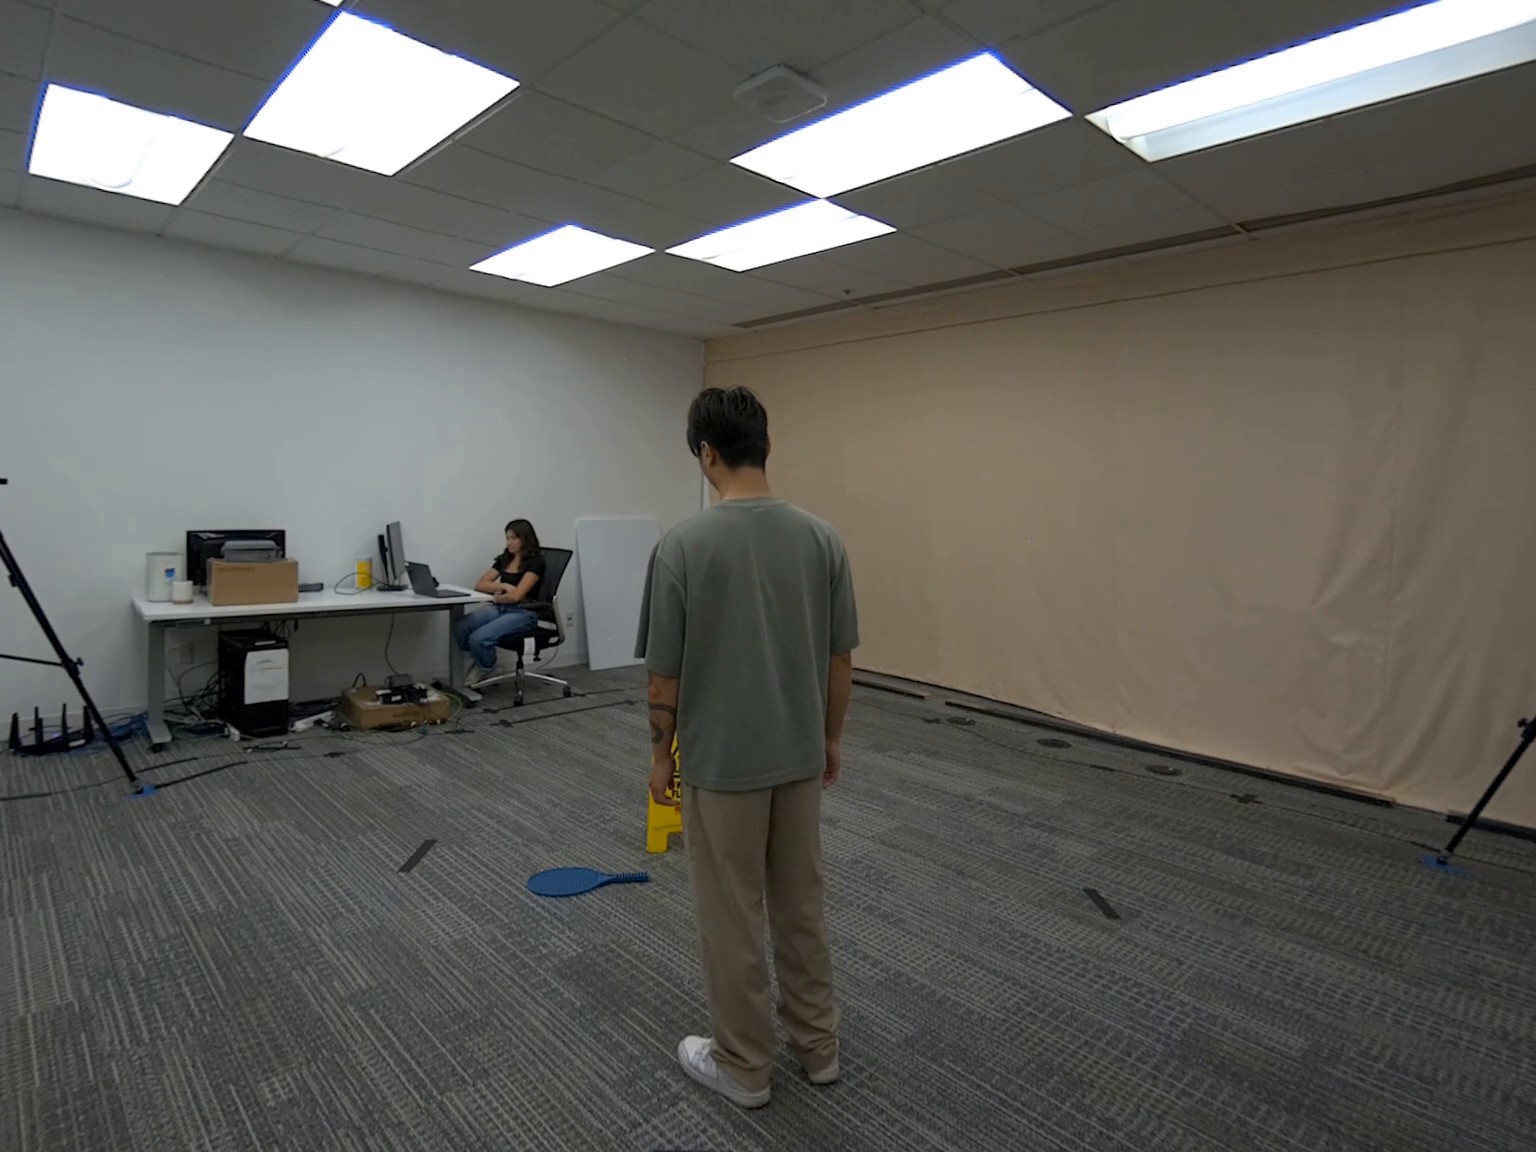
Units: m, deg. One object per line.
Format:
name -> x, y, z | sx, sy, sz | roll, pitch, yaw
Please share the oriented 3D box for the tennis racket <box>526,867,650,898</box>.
tennis racket -> -0.647, 1.087, 3.021 | 0.431, 0.031, 0.215 | -1, 6, -7
